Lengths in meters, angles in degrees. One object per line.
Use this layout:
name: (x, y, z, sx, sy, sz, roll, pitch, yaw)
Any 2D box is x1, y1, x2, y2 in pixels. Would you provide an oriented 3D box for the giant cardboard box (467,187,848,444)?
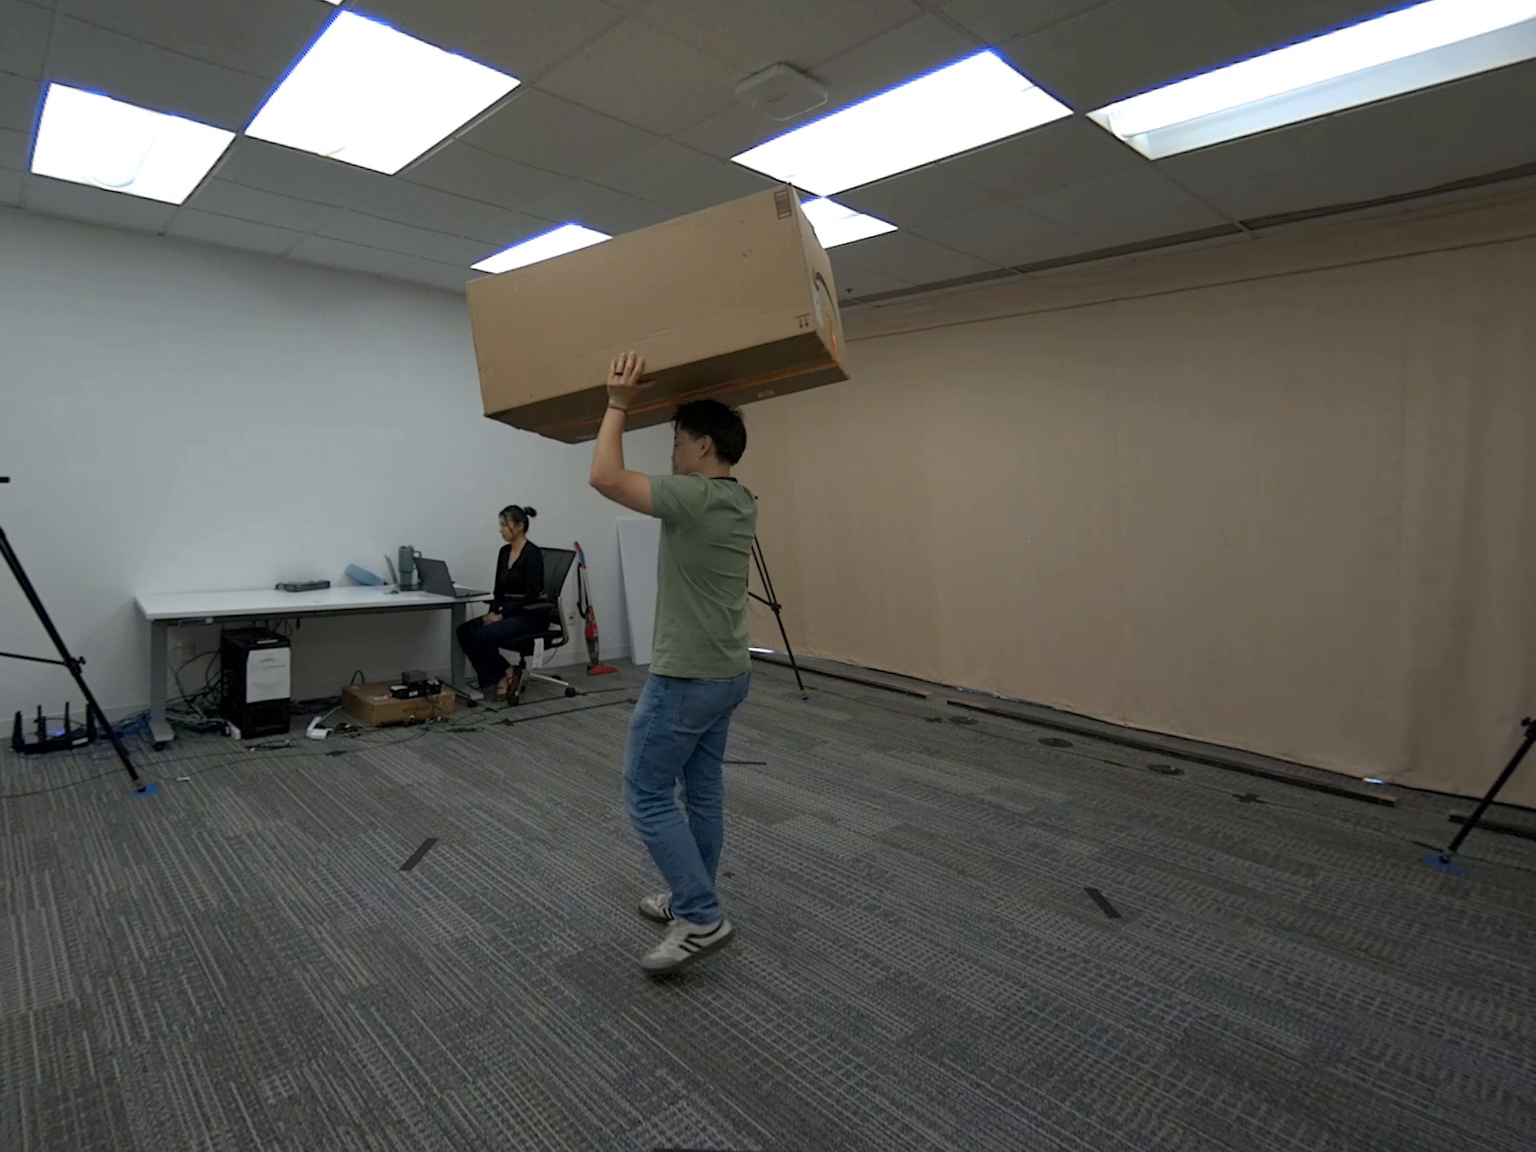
giant cardboard box: (-0.321, -0.762, 2.650, 1.036, 0.428, 0.569, -11, -3, 16)
